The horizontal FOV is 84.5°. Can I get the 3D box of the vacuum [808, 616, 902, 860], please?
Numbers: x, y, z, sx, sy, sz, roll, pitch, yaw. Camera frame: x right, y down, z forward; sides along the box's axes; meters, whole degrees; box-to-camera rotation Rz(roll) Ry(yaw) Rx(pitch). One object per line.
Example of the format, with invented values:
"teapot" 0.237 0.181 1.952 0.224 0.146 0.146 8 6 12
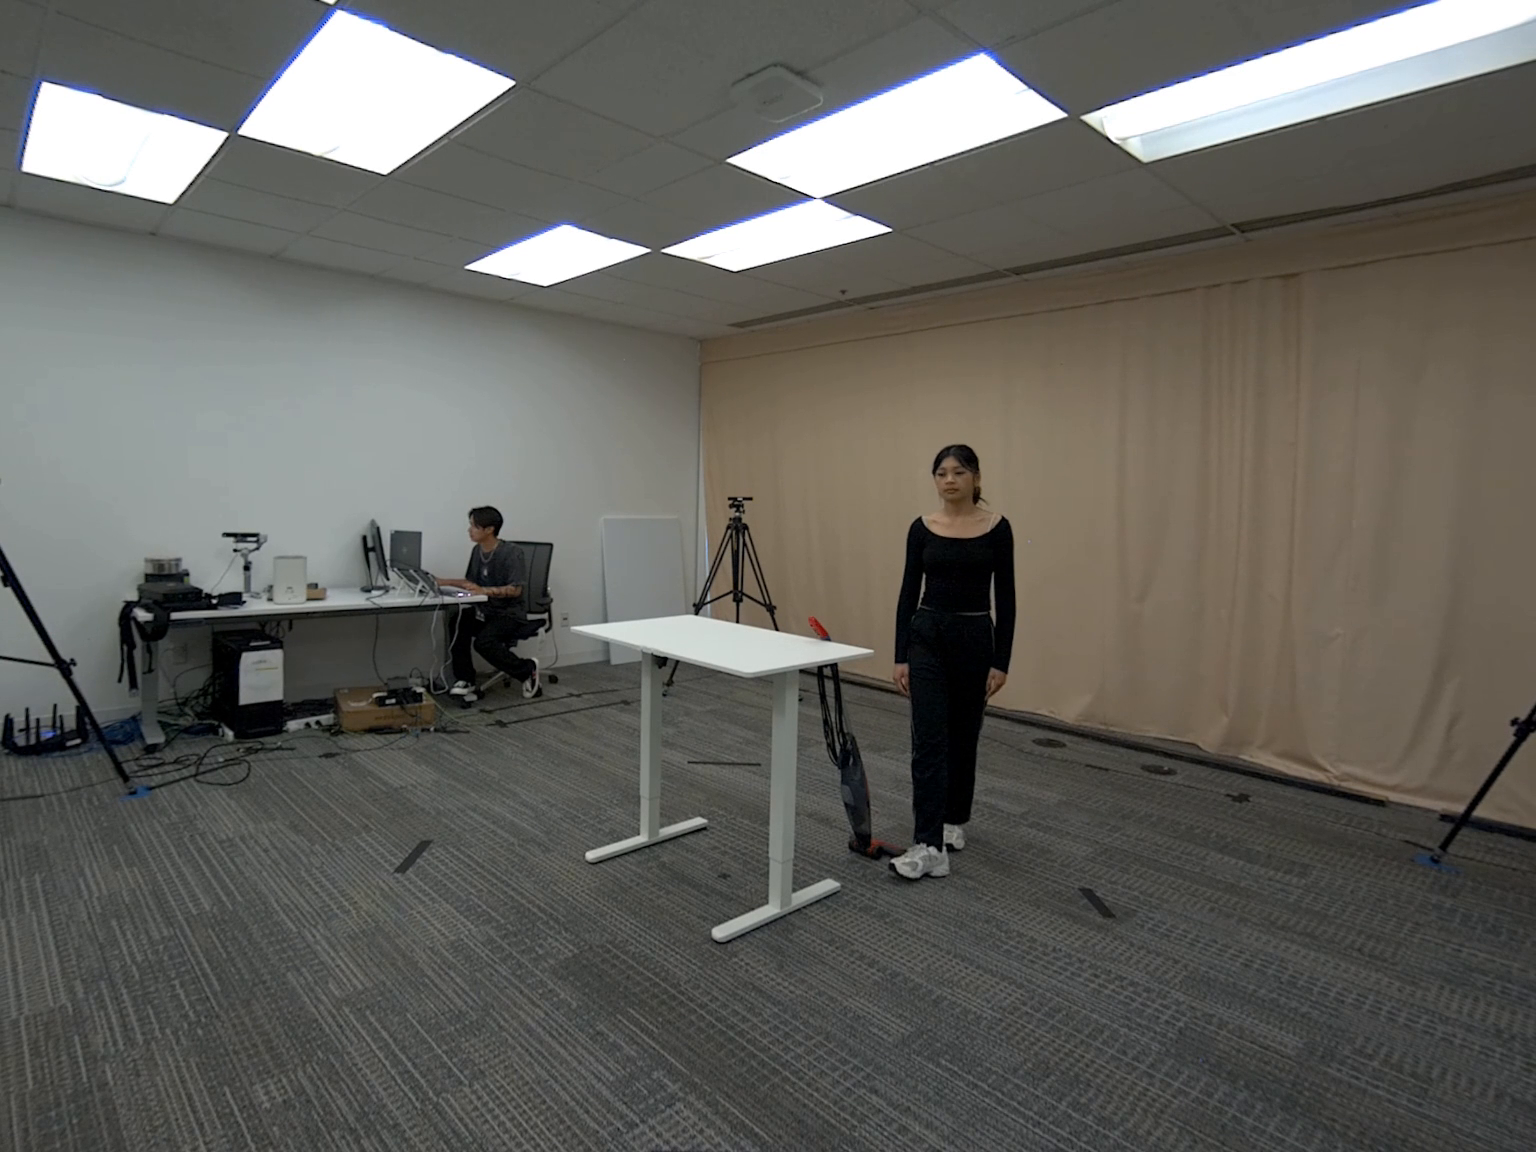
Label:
"vacuum" 0.283 0.630 3.188 0.142 1.031 0.259 -28 25 -33
